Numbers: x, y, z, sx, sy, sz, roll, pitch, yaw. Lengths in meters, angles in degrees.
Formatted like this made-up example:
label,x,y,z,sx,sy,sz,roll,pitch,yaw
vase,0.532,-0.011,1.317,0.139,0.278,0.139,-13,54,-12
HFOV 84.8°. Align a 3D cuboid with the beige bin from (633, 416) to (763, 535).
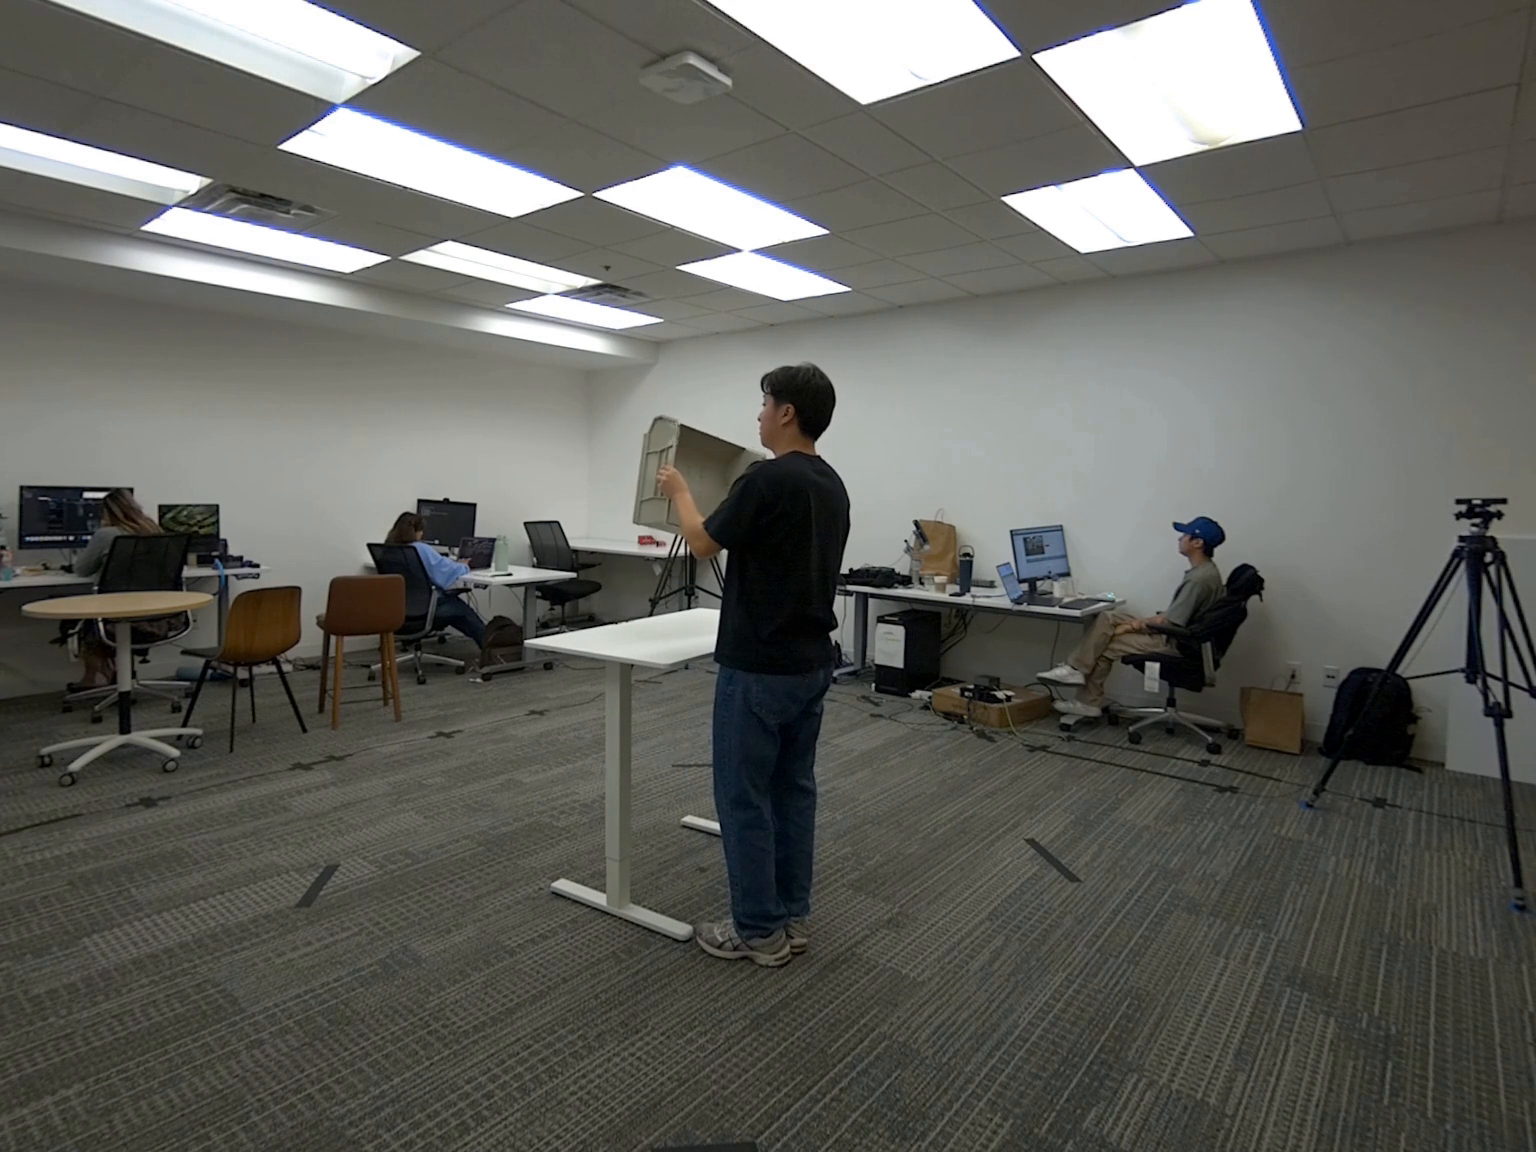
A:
label,x,y,z,sx,sy,sz,roll,pitch,yaw
beige bin,-0.238,-0.314,2.908,0.406,0.380,0.195,14,-12,-43
